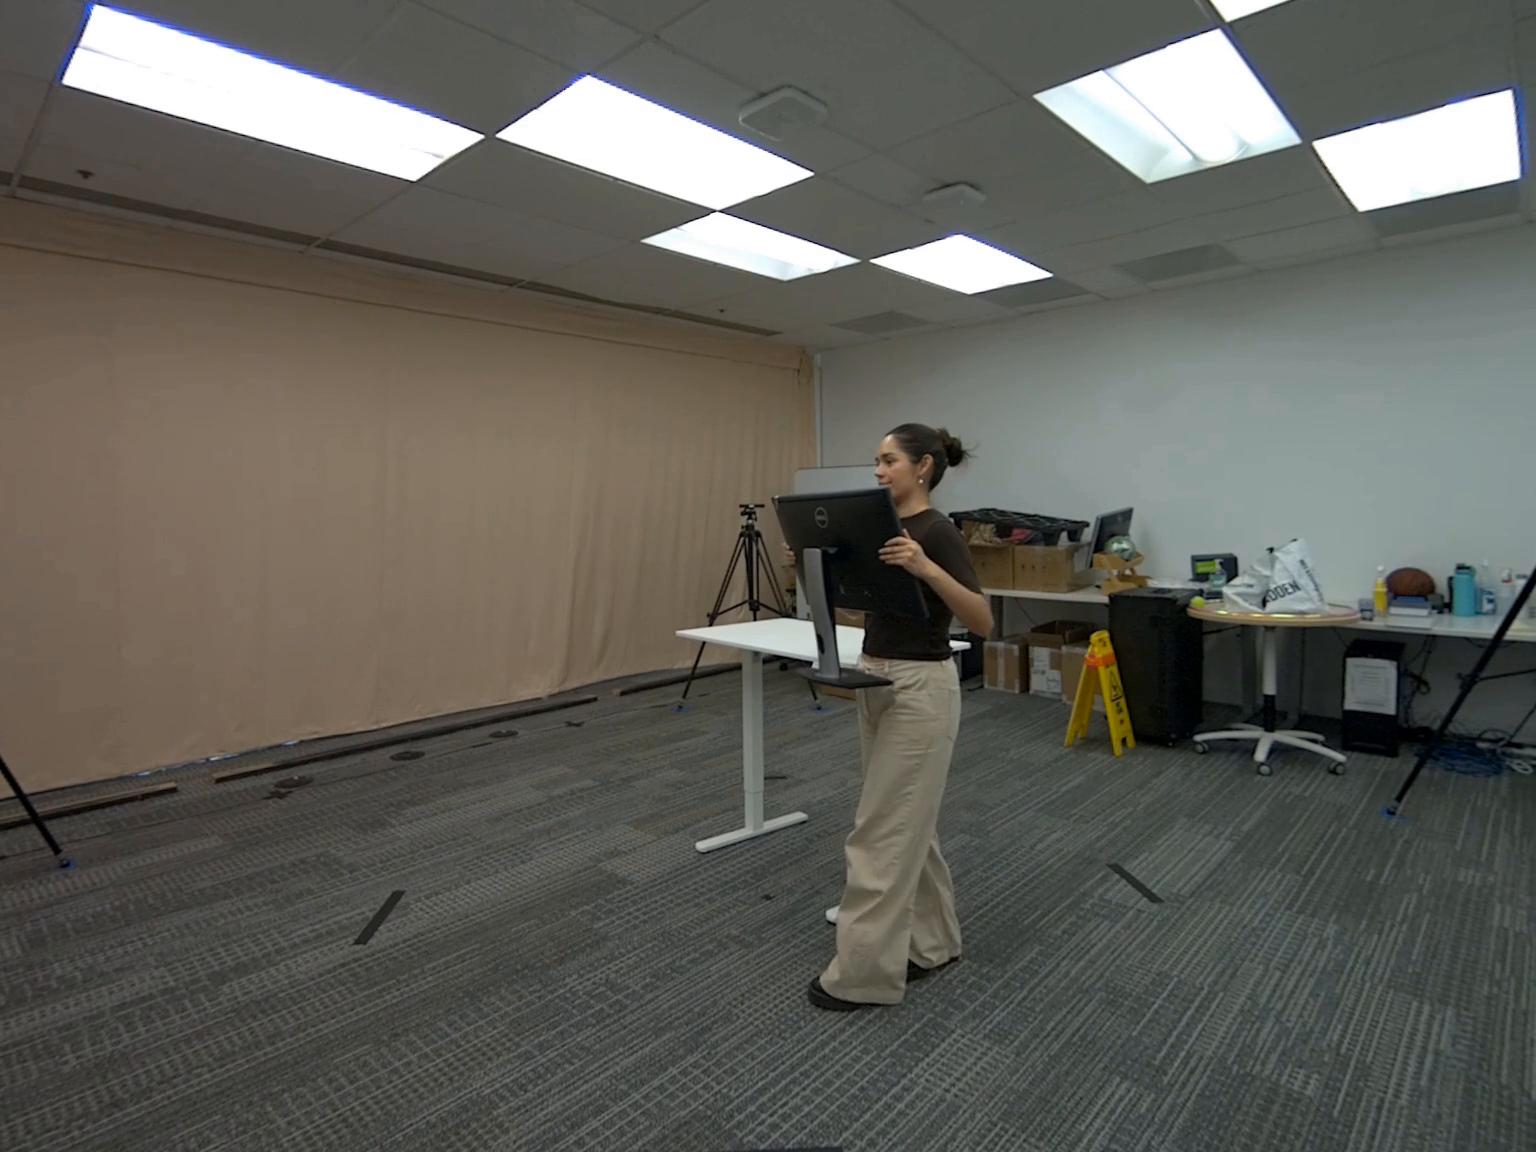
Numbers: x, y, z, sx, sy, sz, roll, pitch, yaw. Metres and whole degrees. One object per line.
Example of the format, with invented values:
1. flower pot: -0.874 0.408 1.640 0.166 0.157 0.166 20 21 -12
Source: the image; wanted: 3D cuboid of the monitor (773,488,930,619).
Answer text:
1. monitor: 0.191 0.029 2.303 0.182 0.521 0.554 -8 4 -31
